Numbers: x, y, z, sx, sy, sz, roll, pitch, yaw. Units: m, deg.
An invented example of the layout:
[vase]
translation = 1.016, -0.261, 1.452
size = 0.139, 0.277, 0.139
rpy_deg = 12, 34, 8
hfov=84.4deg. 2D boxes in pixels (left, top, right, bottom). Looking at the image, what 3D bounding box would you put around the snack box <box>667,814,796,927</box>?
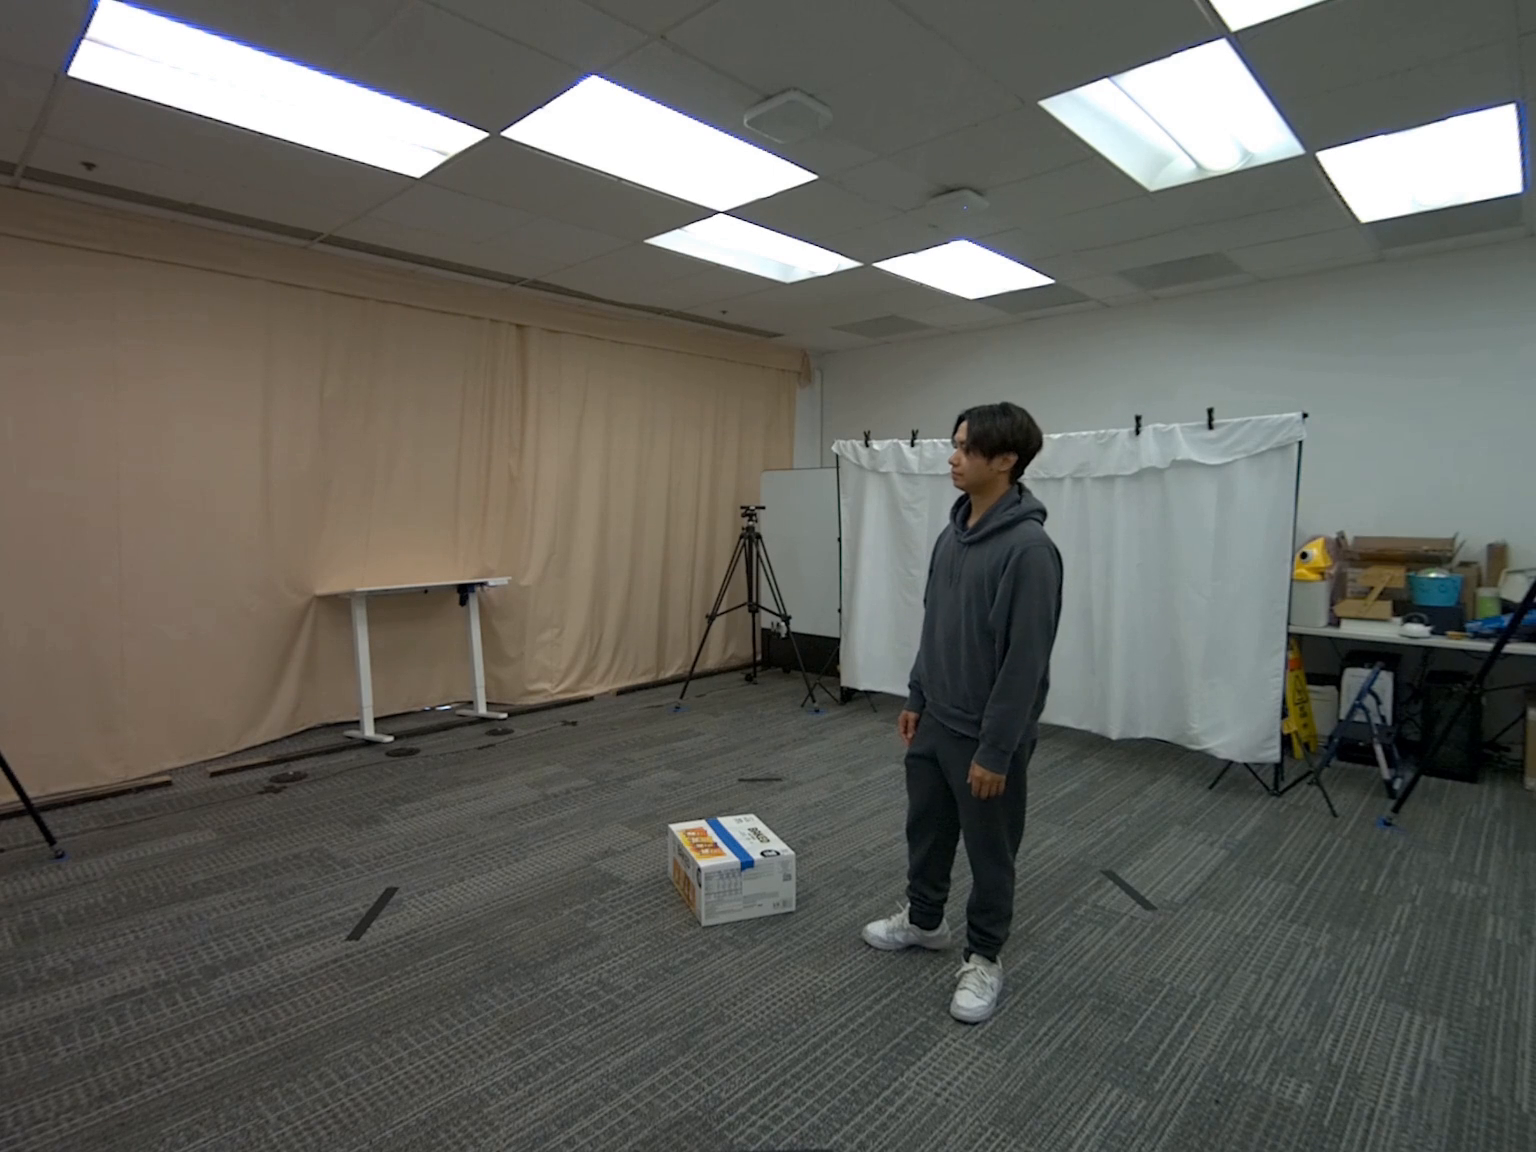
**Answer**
[snack box]
translation = -0.136, 1.040, 3.012
size = 0.333, 0.205, 0.414
rpy_deg = -2, 5, -21
